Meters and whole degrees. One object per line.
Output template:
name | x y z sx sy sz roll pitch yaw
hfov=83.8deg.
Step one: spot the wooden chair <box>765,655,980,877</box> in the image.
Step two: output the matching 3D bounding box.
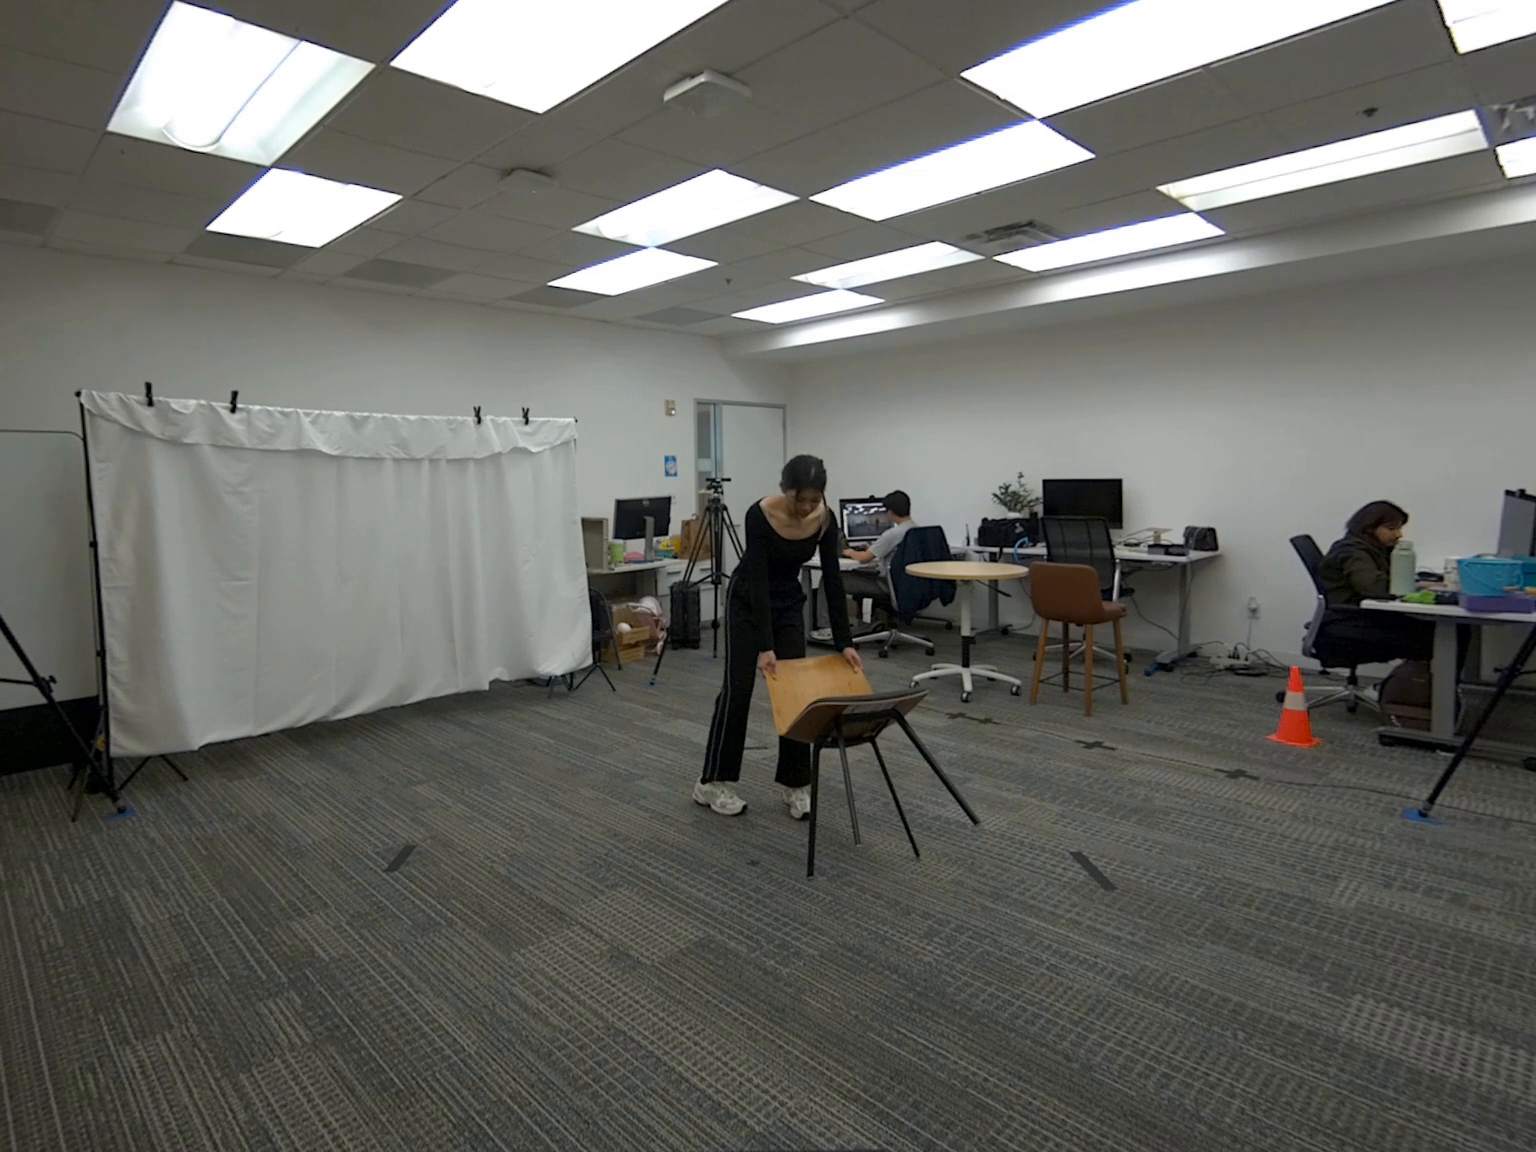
wooden chair | 0.320 0.554 3.074 0.470 0.905 0.516 -2 -36 -20
